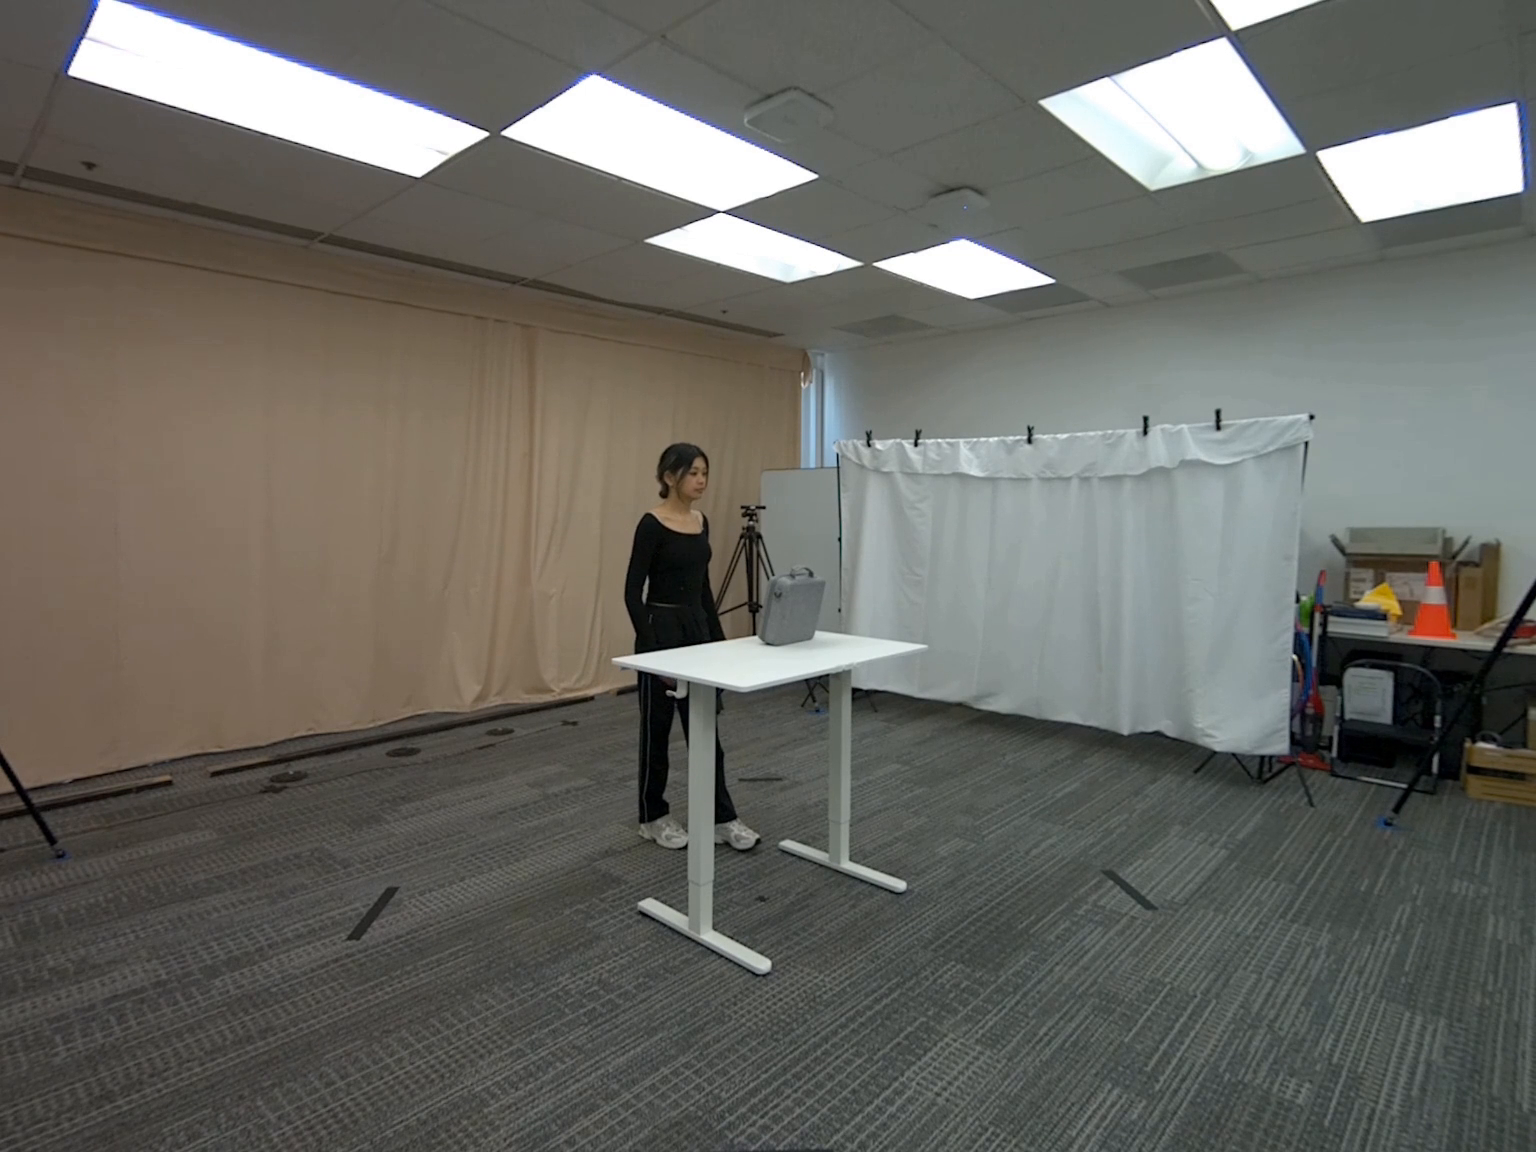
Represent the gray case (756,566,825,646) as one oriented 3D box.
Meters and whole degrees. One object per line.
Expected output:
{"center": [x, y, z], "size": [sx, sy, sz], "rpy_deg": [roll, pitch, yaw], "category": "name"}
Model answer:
{"center": [0.093, 0.119, 3.130], "size": [0.108, 0.259, 0.249], "rpy_deg": [20, 16, 38], "category": "gray case"}
